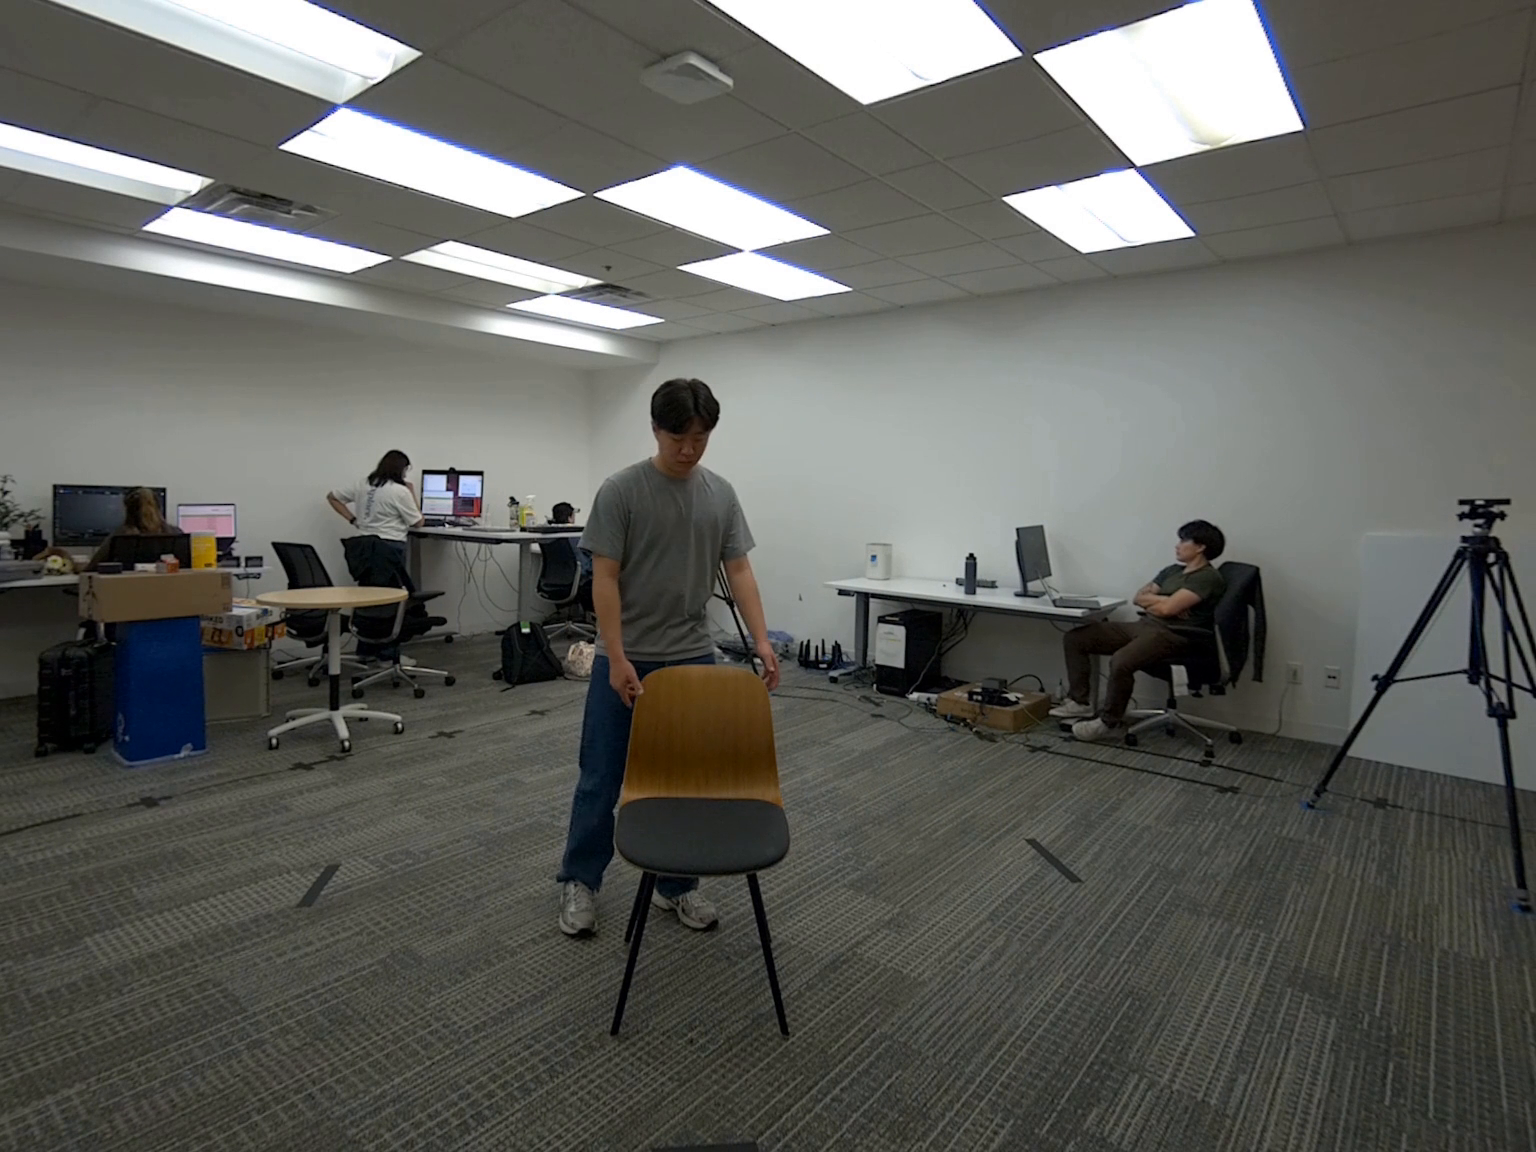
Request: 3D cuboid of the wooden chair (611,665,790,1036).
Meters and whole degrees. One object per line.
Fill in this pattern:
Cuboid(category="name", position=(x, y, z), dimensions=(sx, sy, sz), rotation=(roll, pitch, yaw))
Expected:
Cuboid(category="wooden chair", position=(-0.181, 0.721, 2.344), dimensions=(0.476, 0.878, 0.525), rotation=(2, 0, -4))
